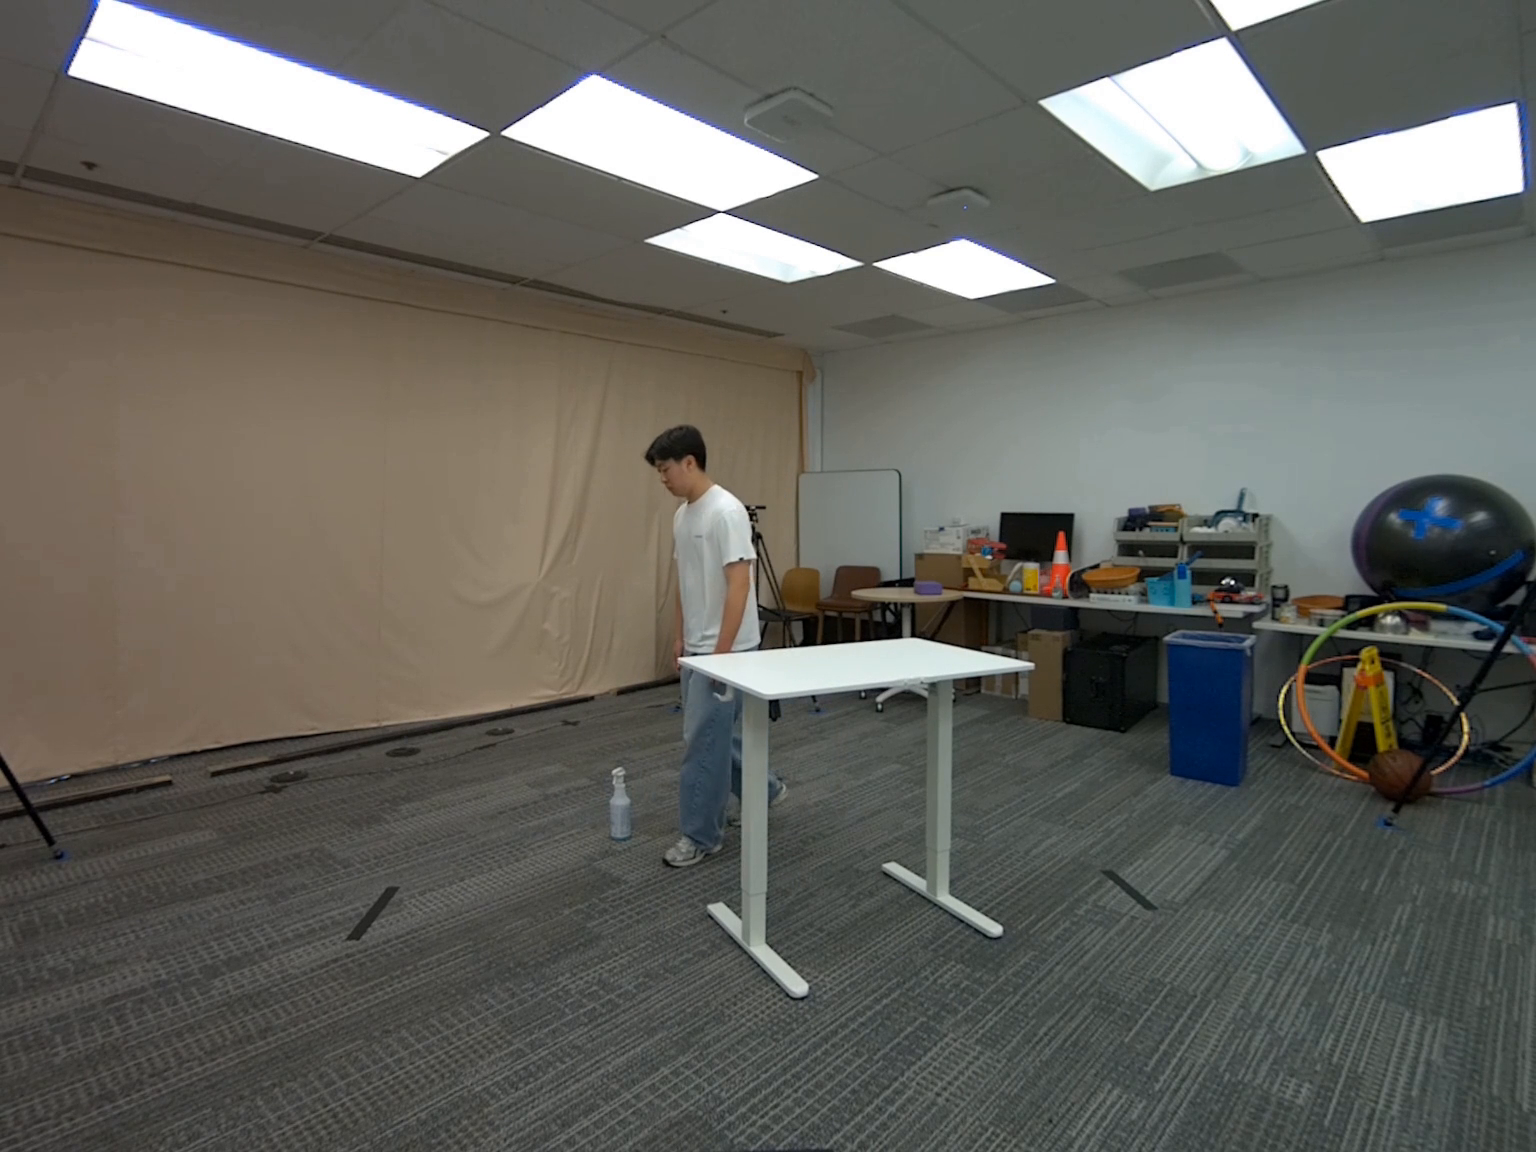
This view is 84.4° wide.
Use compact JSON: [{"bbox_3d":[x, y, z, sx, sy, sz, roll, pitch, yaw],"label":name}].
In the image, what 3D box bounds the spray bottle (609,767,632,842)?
[{"bbox_3d":[-0.624,0.960,3.549,0.087,0.296,0.090,-5,6,-42],"label":"spray bottle"}]
